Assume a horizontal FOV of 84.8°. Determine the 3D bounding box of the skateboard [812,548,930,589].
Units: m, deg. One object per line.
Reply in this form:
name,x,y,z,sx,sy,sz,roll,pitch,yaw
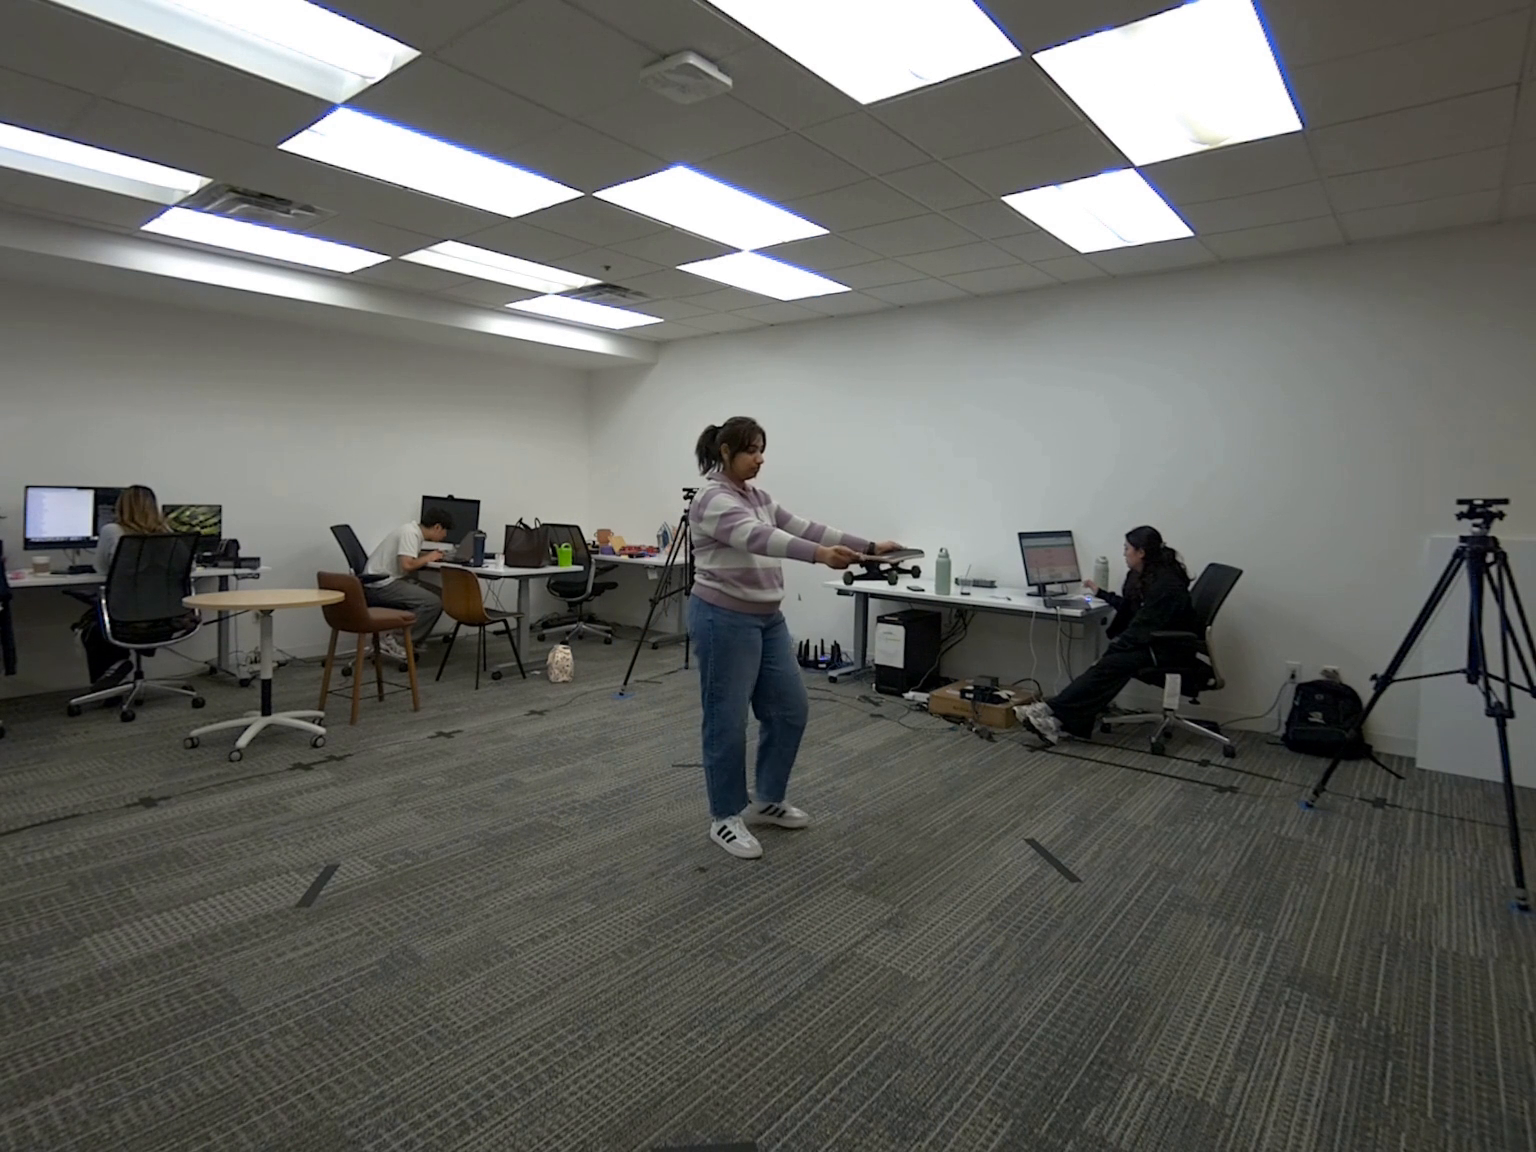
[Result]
skateboard,0.395,-0.037,3.086,0.198,0.110,0.766,-3,1,25
